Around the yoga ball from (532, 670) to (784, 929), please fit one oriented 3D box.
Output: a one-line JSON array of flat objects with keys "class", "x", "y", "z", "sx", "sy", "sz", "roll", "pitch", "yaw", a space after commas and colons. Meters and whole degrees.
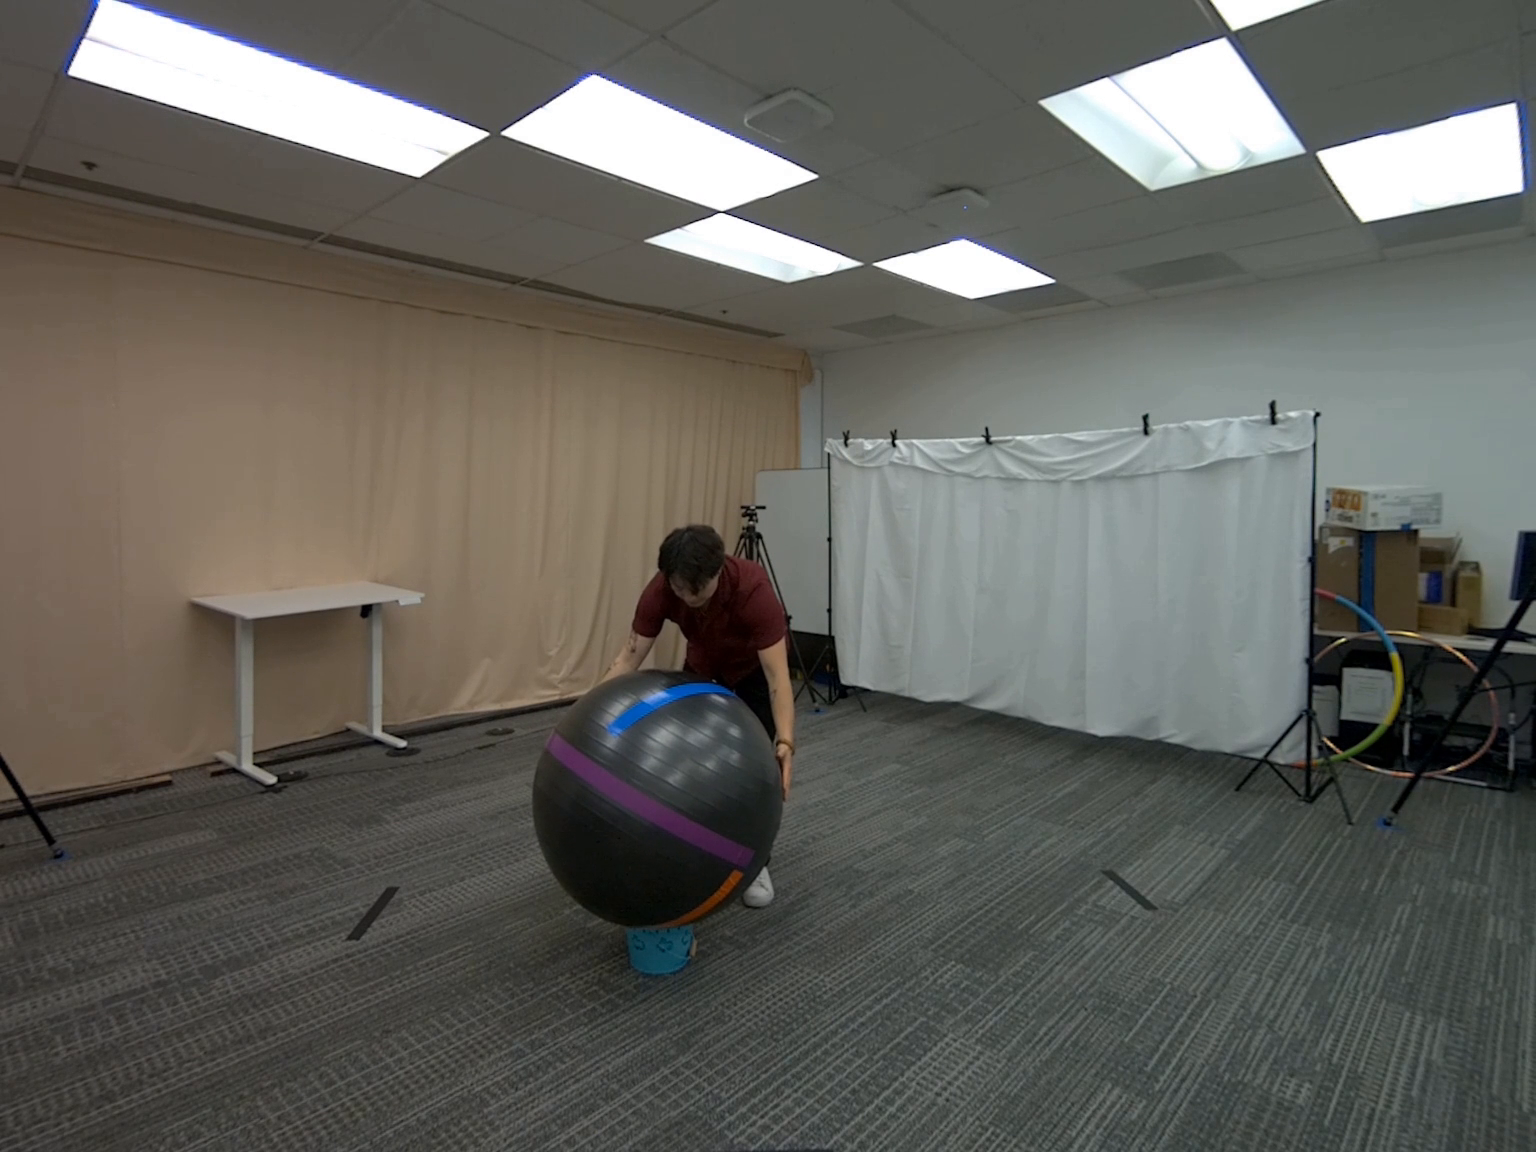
[{"class": "yoga ball", "x": -0.335, "y": 0.674, "z": 2.581, "sx": 0.757, "sy": 0.756, "sz": 0.760, "roll": 0, "pitch": 4, "yaw": -2}]
